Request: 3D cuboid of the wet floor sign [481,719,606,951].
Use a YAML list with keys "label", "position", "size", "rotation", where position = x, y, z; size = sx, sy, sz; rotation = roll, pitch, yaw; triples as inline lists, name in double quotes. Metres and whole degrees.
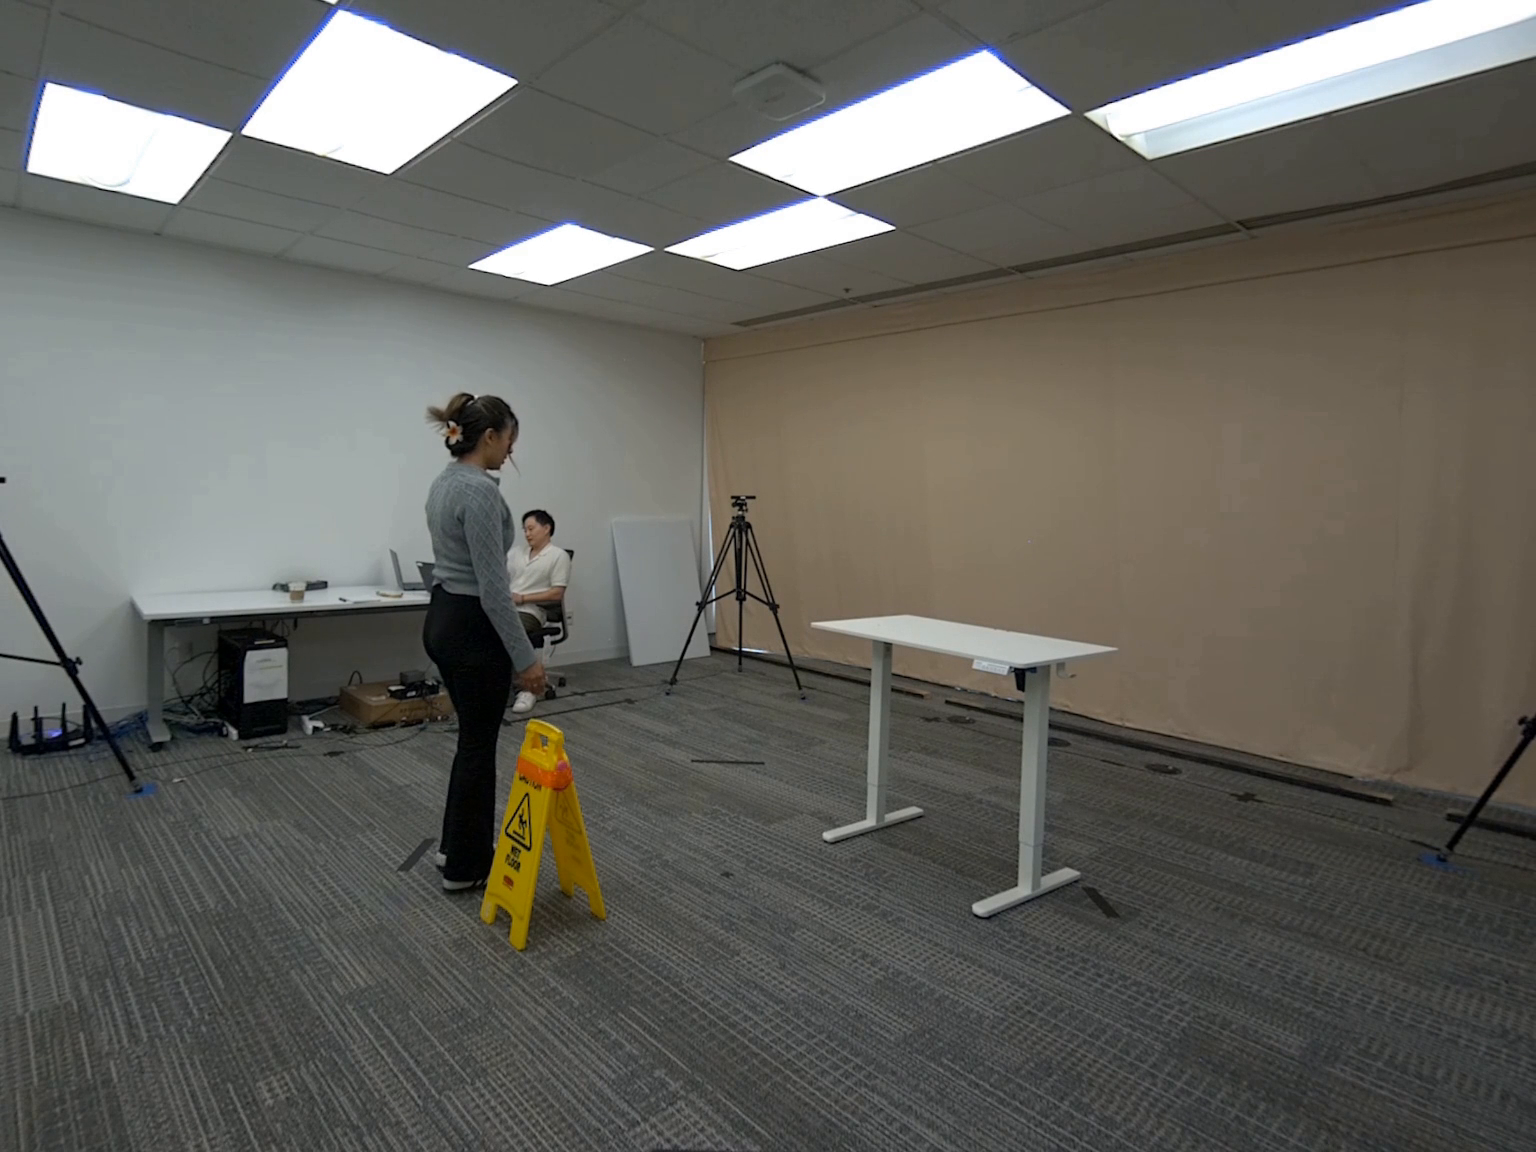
- label: "wet floor sign"
  position: [-0.734, 0.806, 2.737]
  size: [0.283, 0.644, 0.289]
  rotation: [-2, 4, -43]
